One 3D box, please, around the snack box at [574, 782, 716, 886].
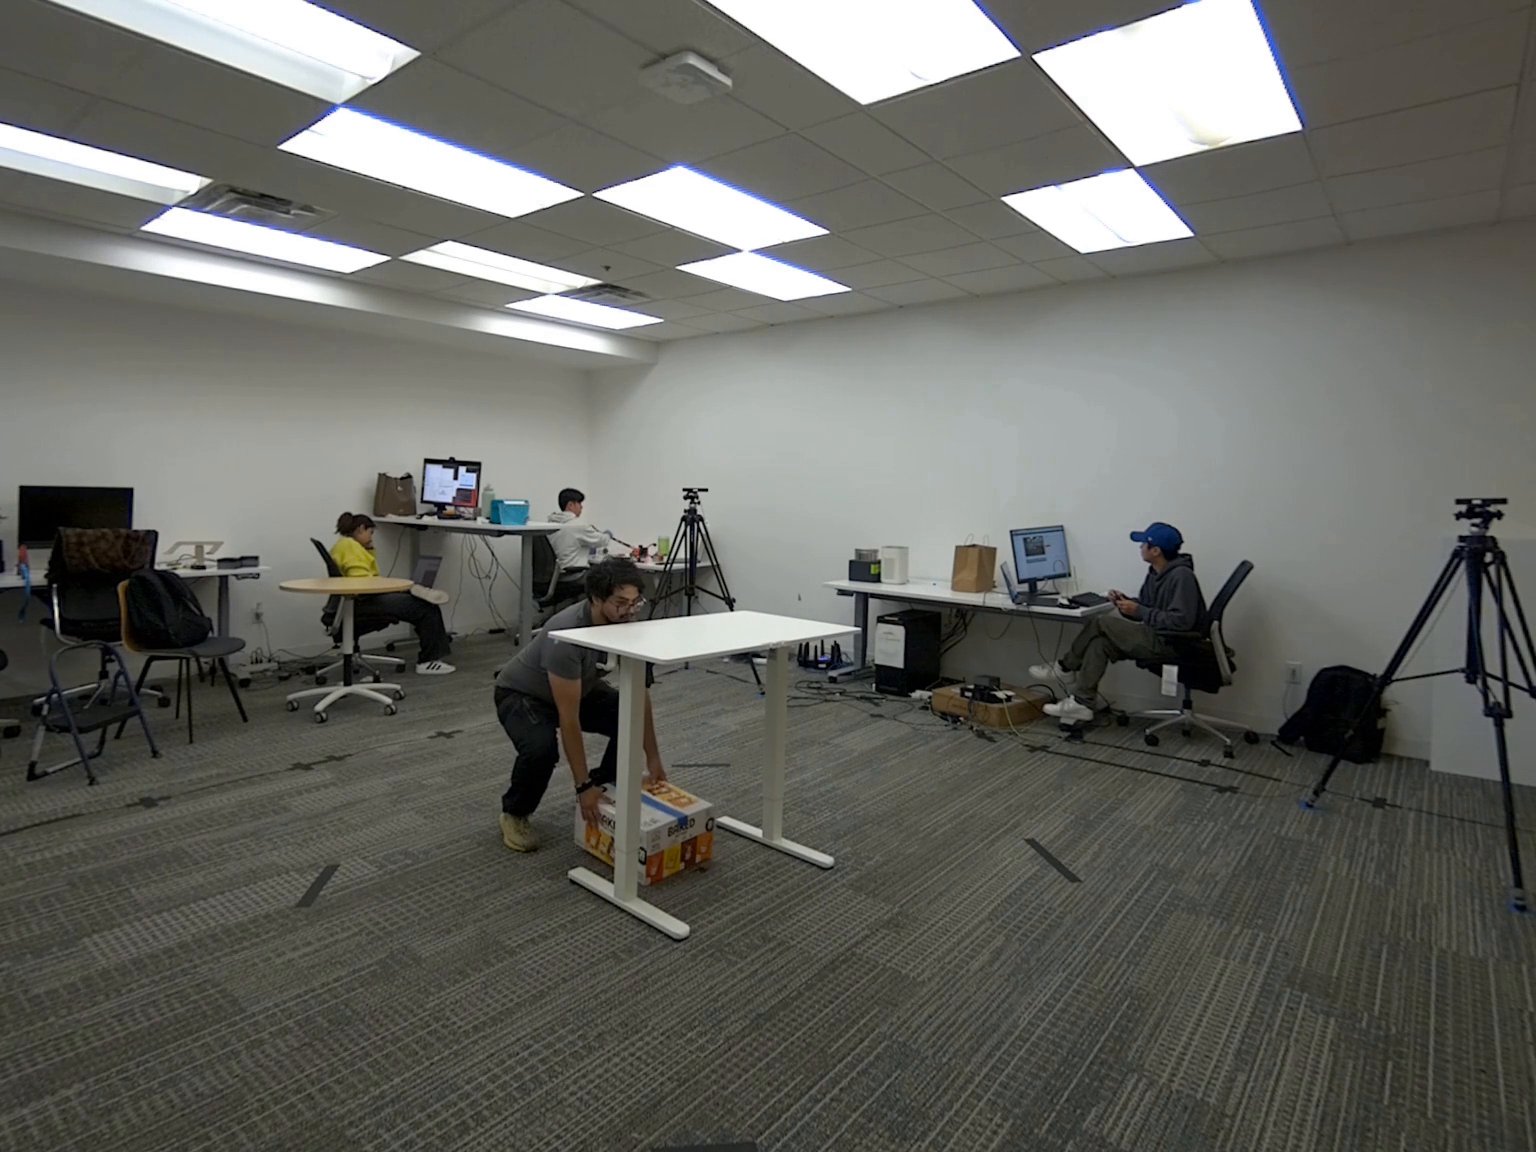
[{"bbox_3d":[-0.479,0.933,3.207,0.420,0.204,0.330,12,11,41],"label":"snack box"}]
